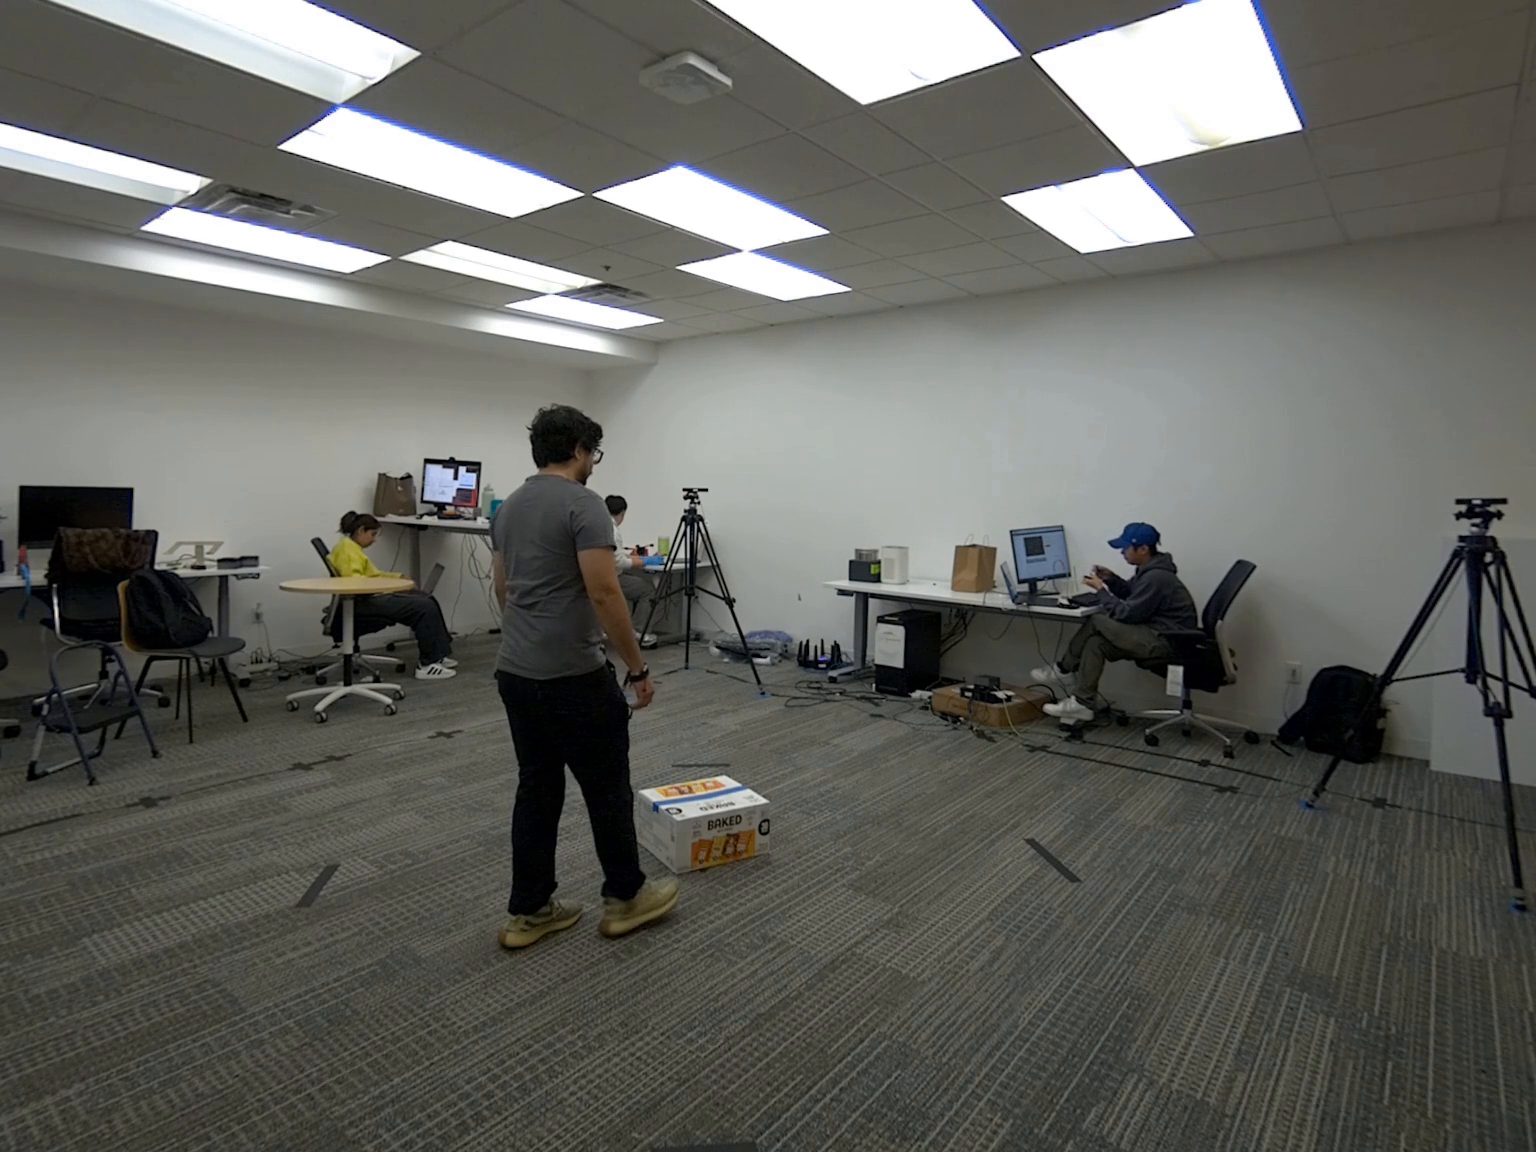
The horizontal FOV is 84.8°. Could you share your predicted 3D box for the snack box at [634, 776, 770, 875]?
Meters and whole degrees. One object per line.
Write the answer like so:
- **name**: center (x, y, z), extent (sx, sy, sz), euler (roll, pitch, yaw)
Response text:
- **snack box**: center (-0.263, 0.951, 3.297), extent (0.394, 0.205, 0.351), euler (-2, 6, -32)
